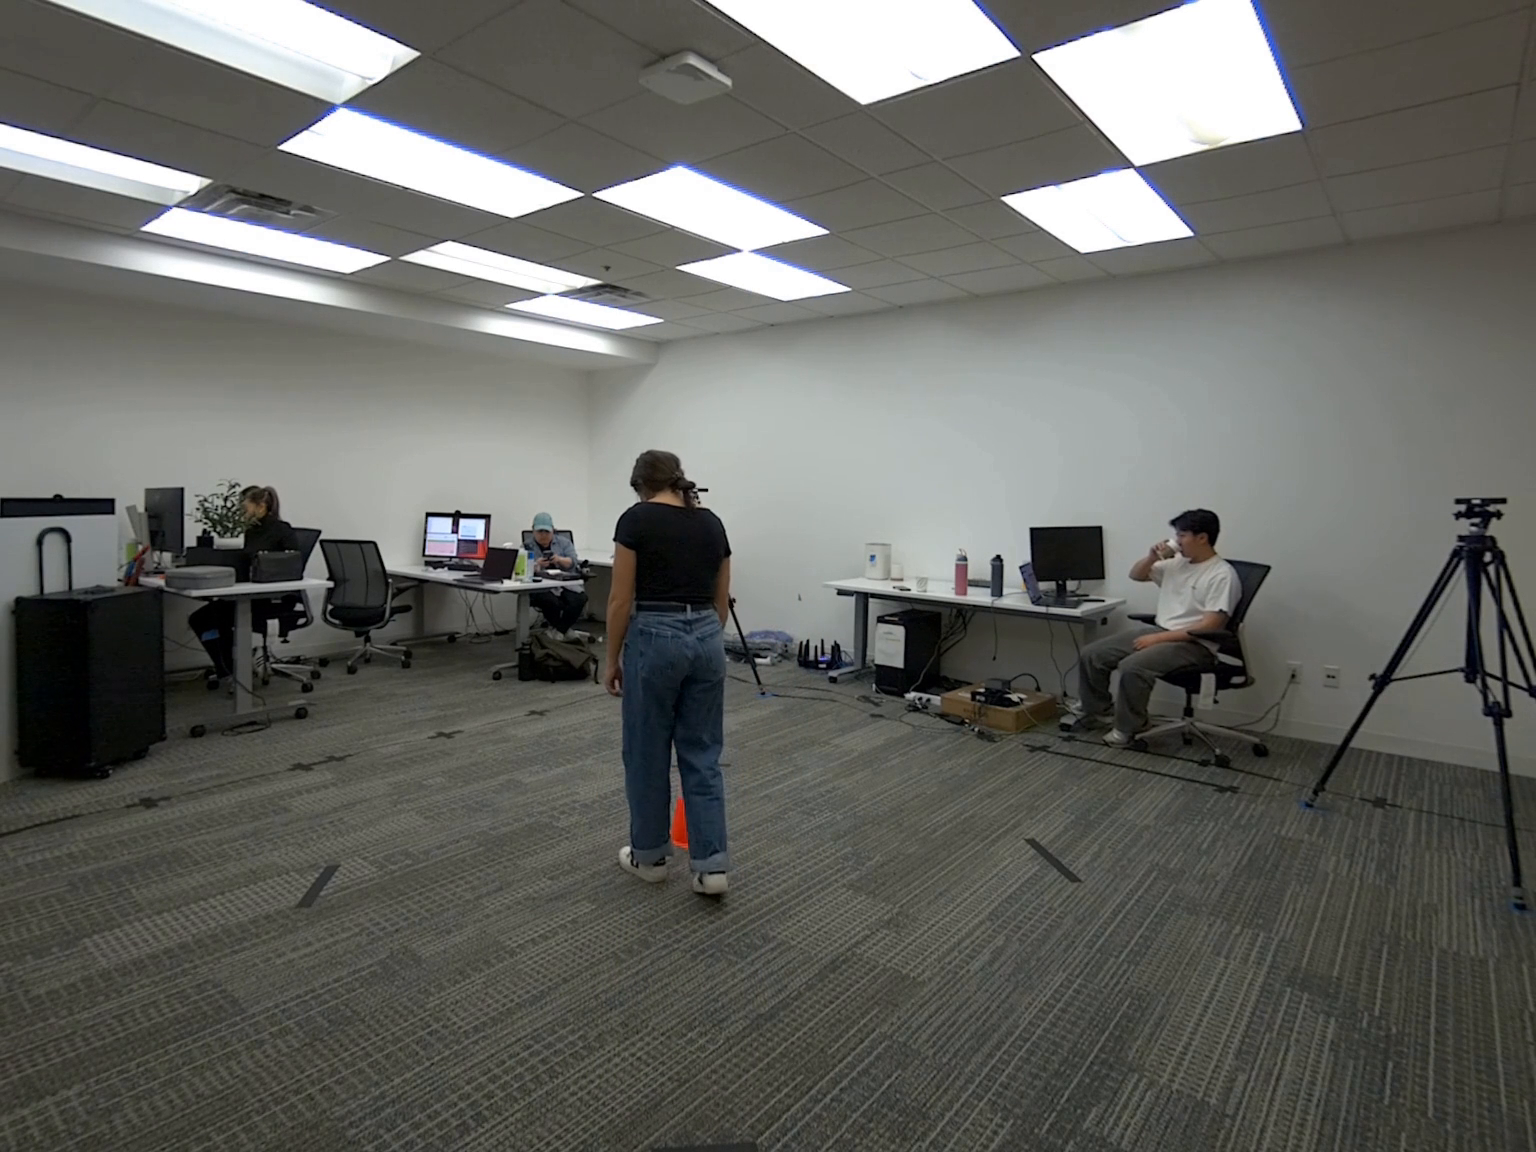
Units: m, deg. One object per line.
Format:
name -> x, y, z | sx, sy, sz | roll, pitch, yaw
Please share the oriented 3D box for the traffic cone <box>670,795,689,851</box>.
traffic cone -> -0.300, 0.847, 3.396 | 0.210, 0.382, 0.199 | 4, 5, 32
